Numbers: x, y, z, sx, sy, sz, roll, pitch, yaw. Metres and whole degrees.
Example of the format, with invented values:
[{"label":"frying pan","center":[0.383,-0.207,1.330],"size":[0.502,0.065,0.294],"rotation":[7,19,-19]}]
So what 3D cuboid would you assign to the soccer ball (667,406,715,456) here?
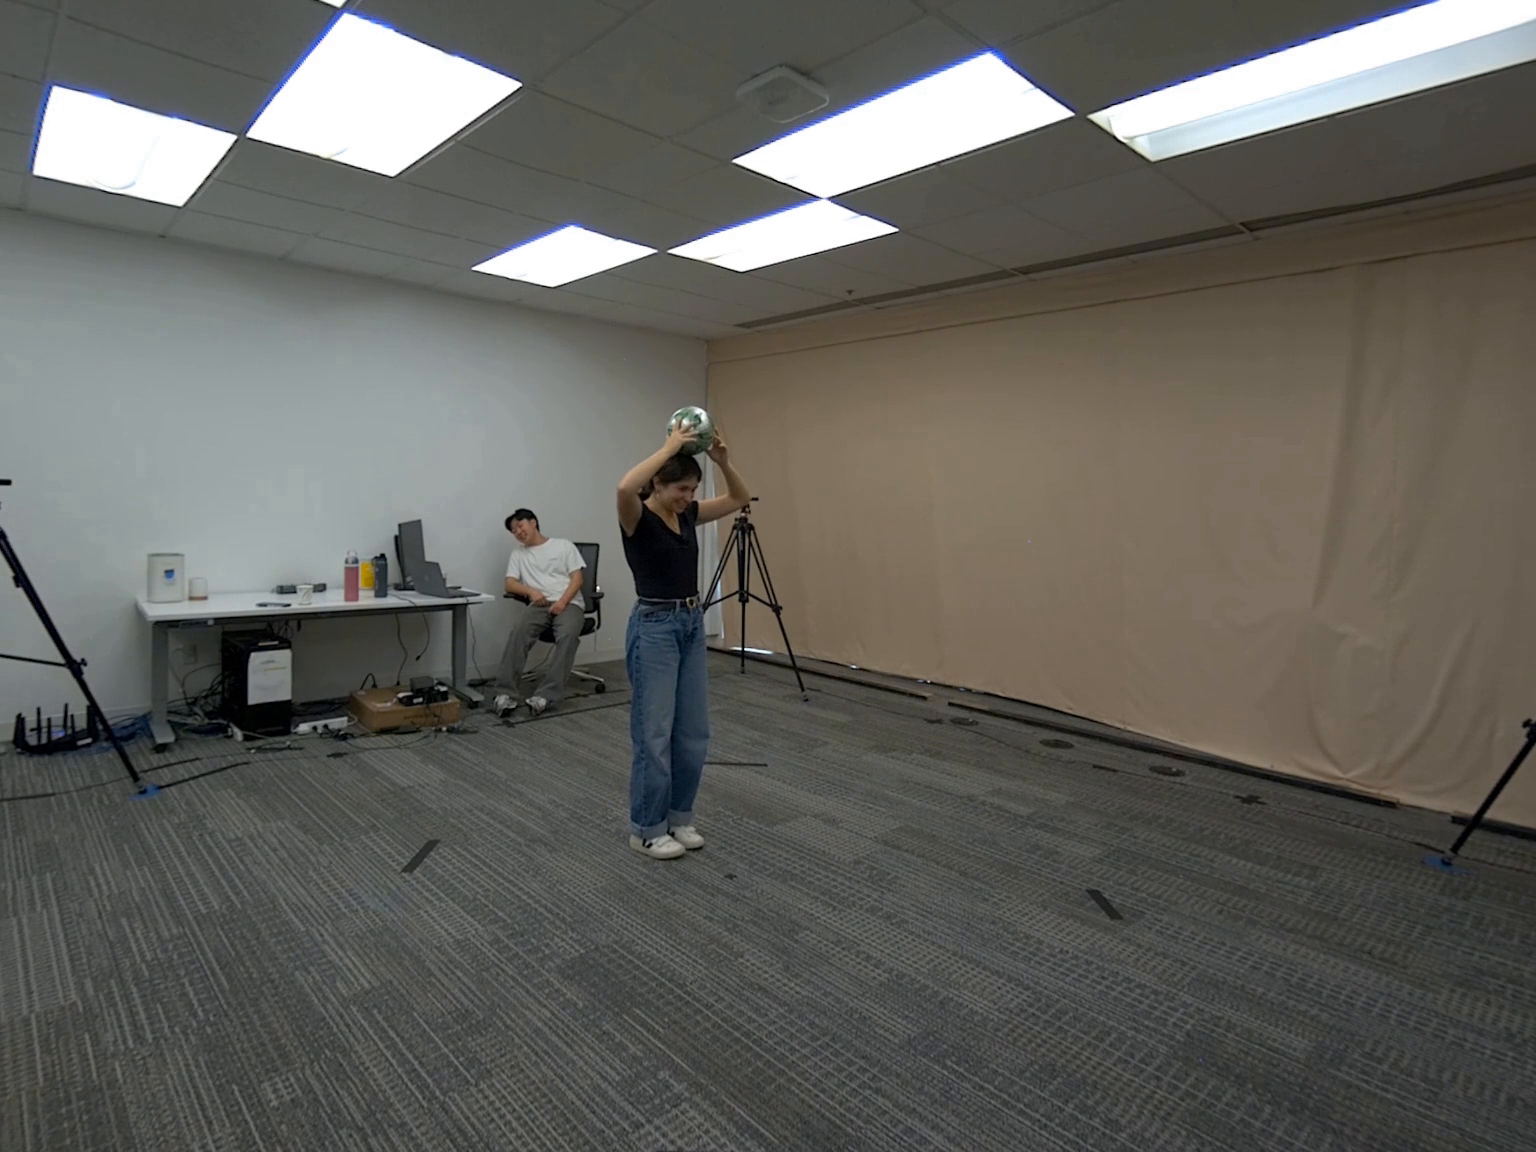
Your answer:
[{"label":"soccer ball","center":[-0.304,-0.556,3.246],"size":[0.187,0.187,0.188],"rotation":[1,4,-1]}]
